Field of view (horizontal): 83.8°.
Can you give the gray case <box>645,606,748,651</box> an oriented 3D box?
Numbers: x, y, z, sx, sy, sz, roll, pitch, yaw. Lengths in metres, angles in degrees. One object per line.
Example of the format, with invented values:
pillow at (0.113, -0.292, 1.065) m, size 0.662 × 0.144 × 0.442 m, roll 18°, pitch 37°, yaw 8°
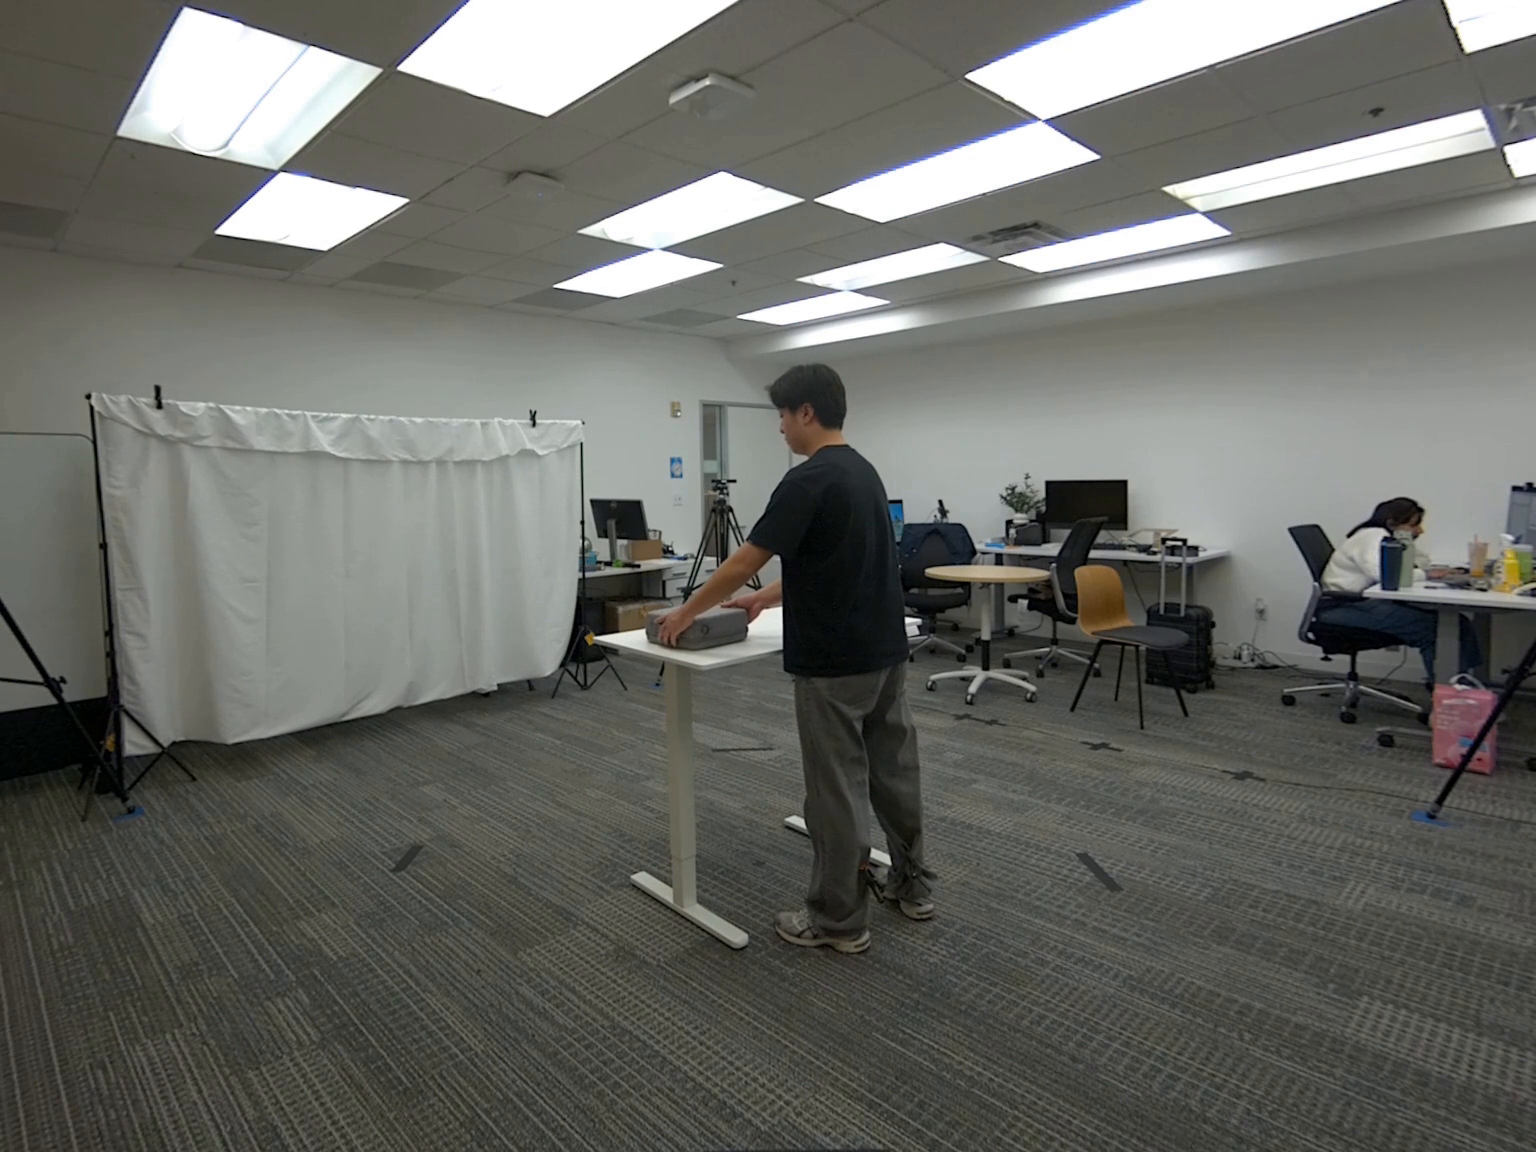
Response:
gray case at (-0.232, 0.161, 2.745) m, size 0.280 × 0.102 × 0.271 m, roll -7°, pitch 8°, yaw -41°
